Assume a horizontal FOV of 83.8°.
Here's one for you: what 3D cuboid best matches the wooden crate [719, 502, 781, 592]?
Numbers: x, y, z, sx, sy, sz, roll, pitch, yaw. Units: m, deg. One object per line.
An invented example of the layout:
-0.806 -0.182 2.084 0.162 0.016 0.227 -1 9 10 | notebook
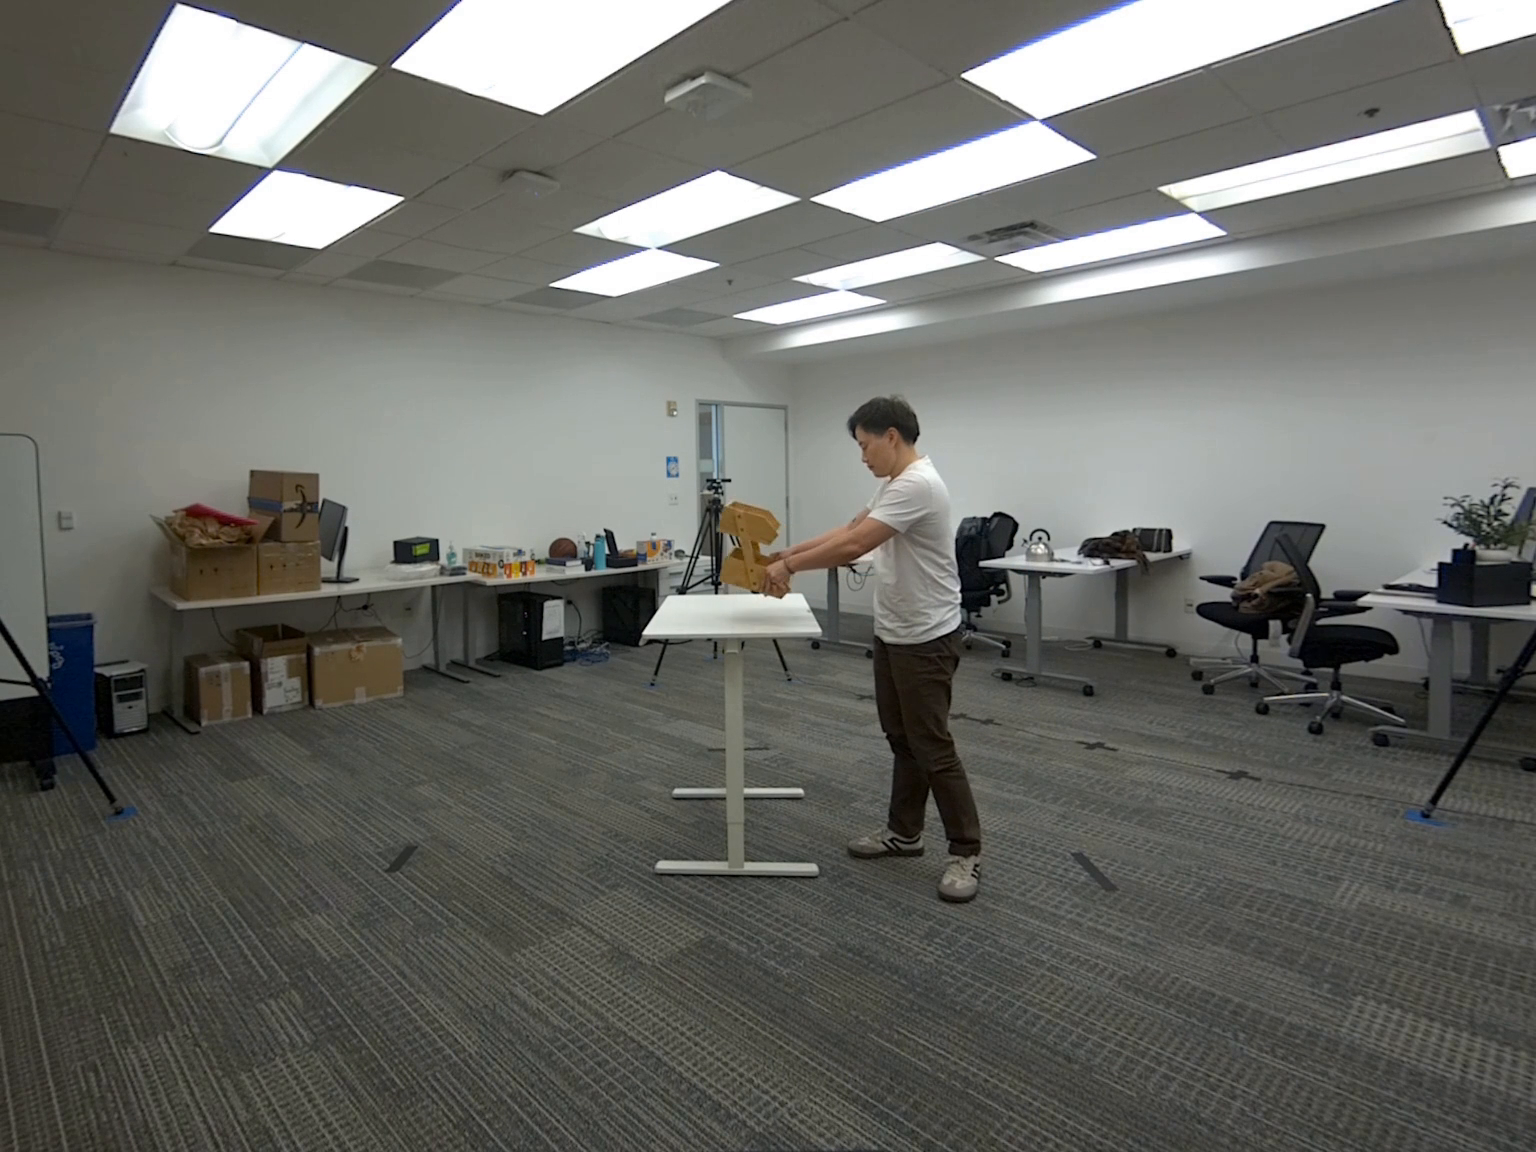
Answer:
-0.013 -0.100 3.089 0.305 0.272 0.323 15 9 8 | wooden crate
